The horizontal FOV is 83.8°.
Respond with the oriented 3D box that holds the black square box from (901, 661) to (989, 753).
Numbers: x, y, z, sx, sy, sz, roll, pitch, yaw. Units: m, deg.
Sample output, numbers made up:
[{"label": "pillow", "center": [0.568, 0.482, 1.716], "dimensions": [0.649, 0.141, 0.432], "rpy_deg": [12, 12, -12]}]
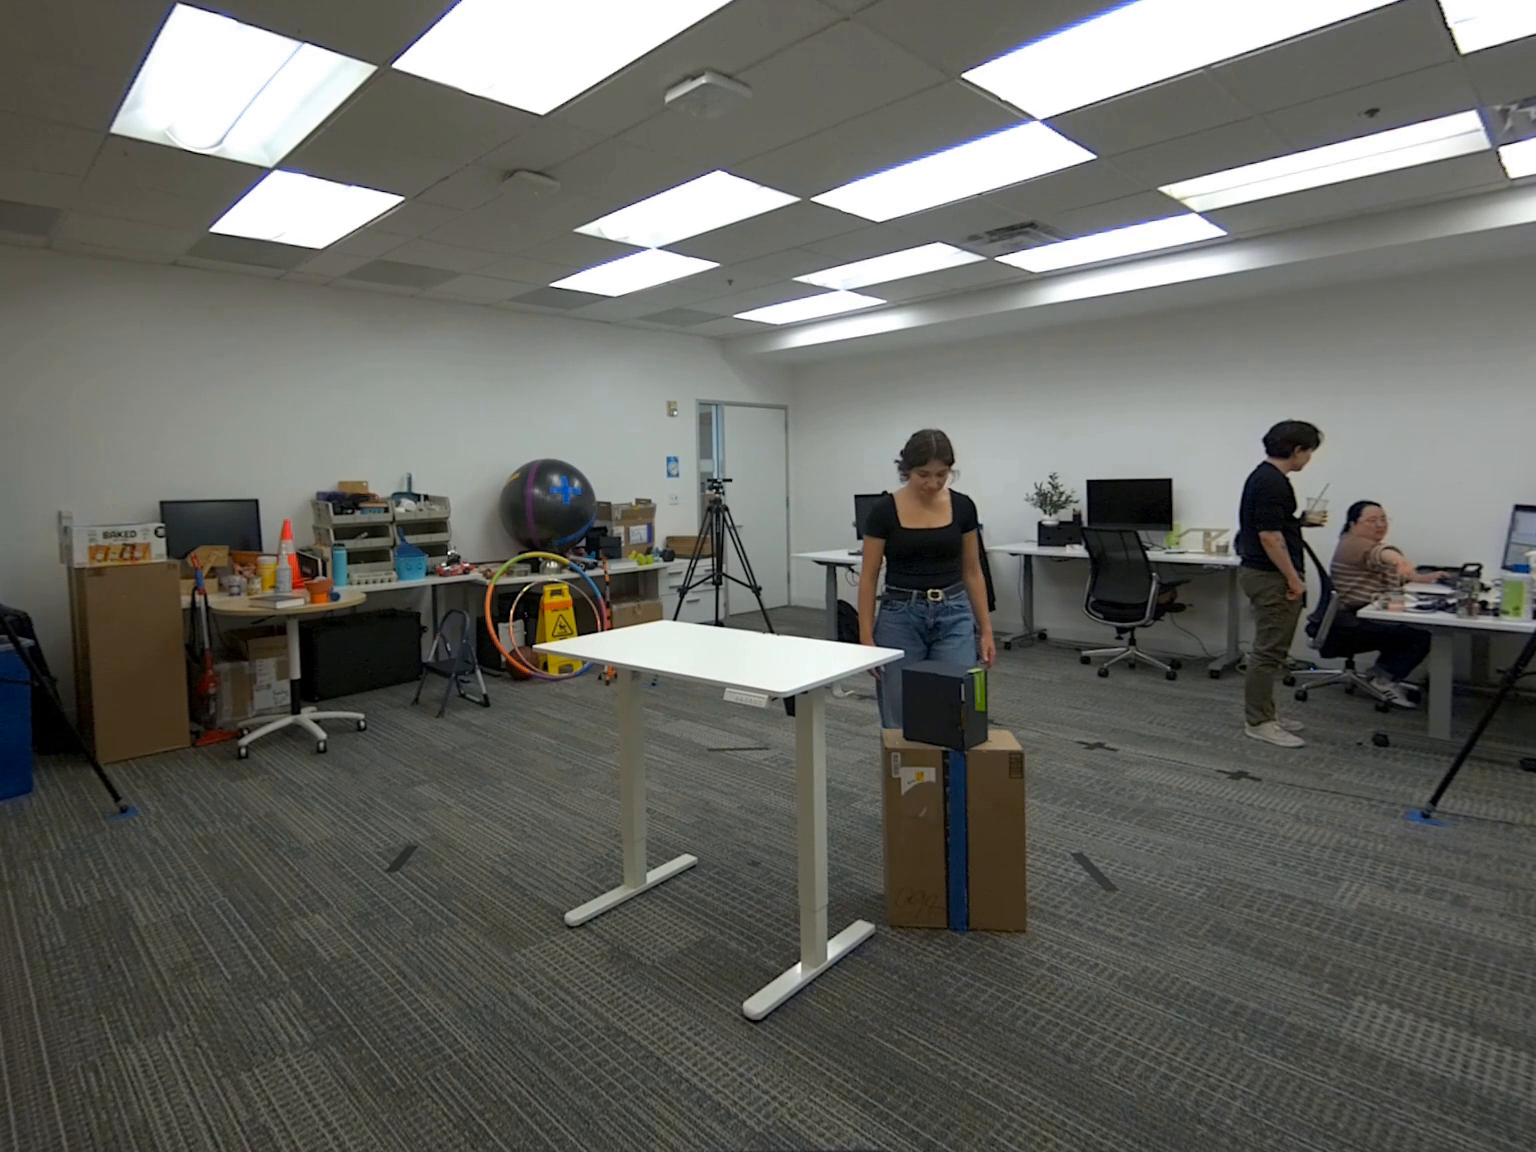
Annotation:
[{"label": "black square box", "center": [0.548, 0.402, 2.688], "dimensions": [0.223, 0.227, 0.152], "rpy_deg": [3, 7, 44]}]
